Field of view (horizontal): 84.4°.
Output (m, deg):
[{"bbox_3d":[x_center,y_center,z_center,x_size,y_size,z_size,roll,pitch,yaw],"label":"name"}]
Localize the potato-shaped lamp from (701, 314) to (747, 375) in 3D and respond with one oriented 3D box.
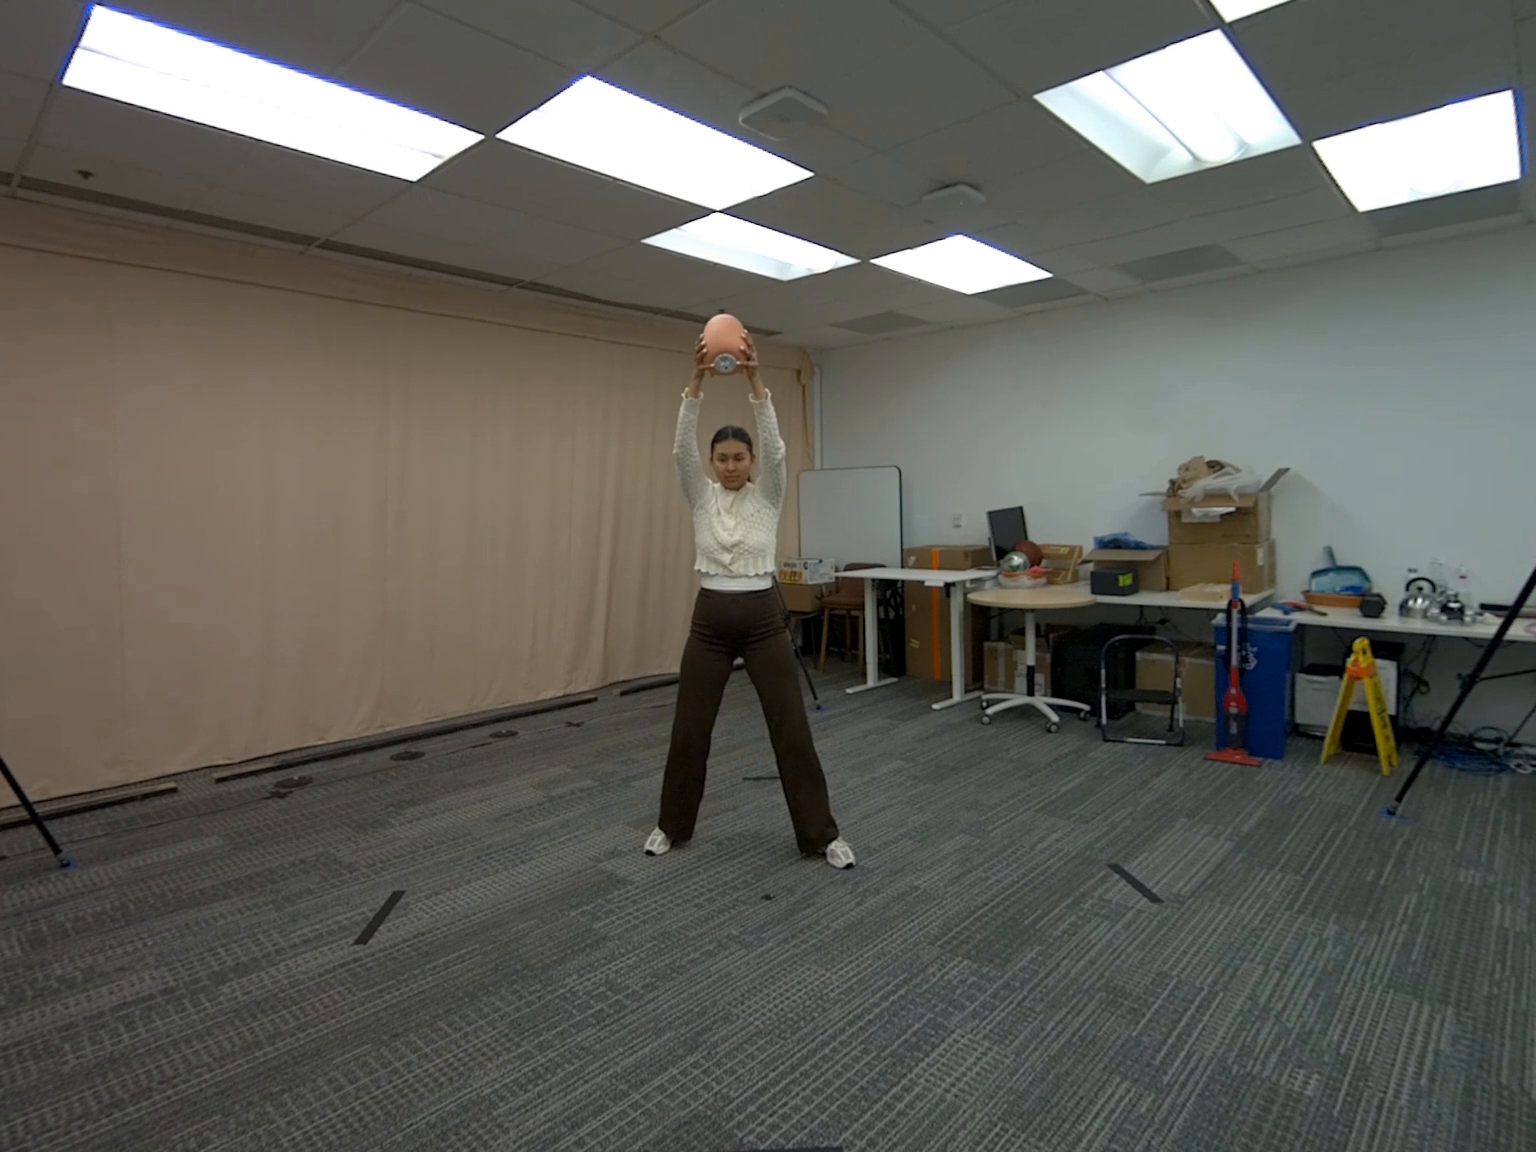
[{"bbox_3d":[-0.152,-0.791,2.884,0.165,0.202,0.167,-9,-34,3],"label":"potato-shaped lamp"}]
